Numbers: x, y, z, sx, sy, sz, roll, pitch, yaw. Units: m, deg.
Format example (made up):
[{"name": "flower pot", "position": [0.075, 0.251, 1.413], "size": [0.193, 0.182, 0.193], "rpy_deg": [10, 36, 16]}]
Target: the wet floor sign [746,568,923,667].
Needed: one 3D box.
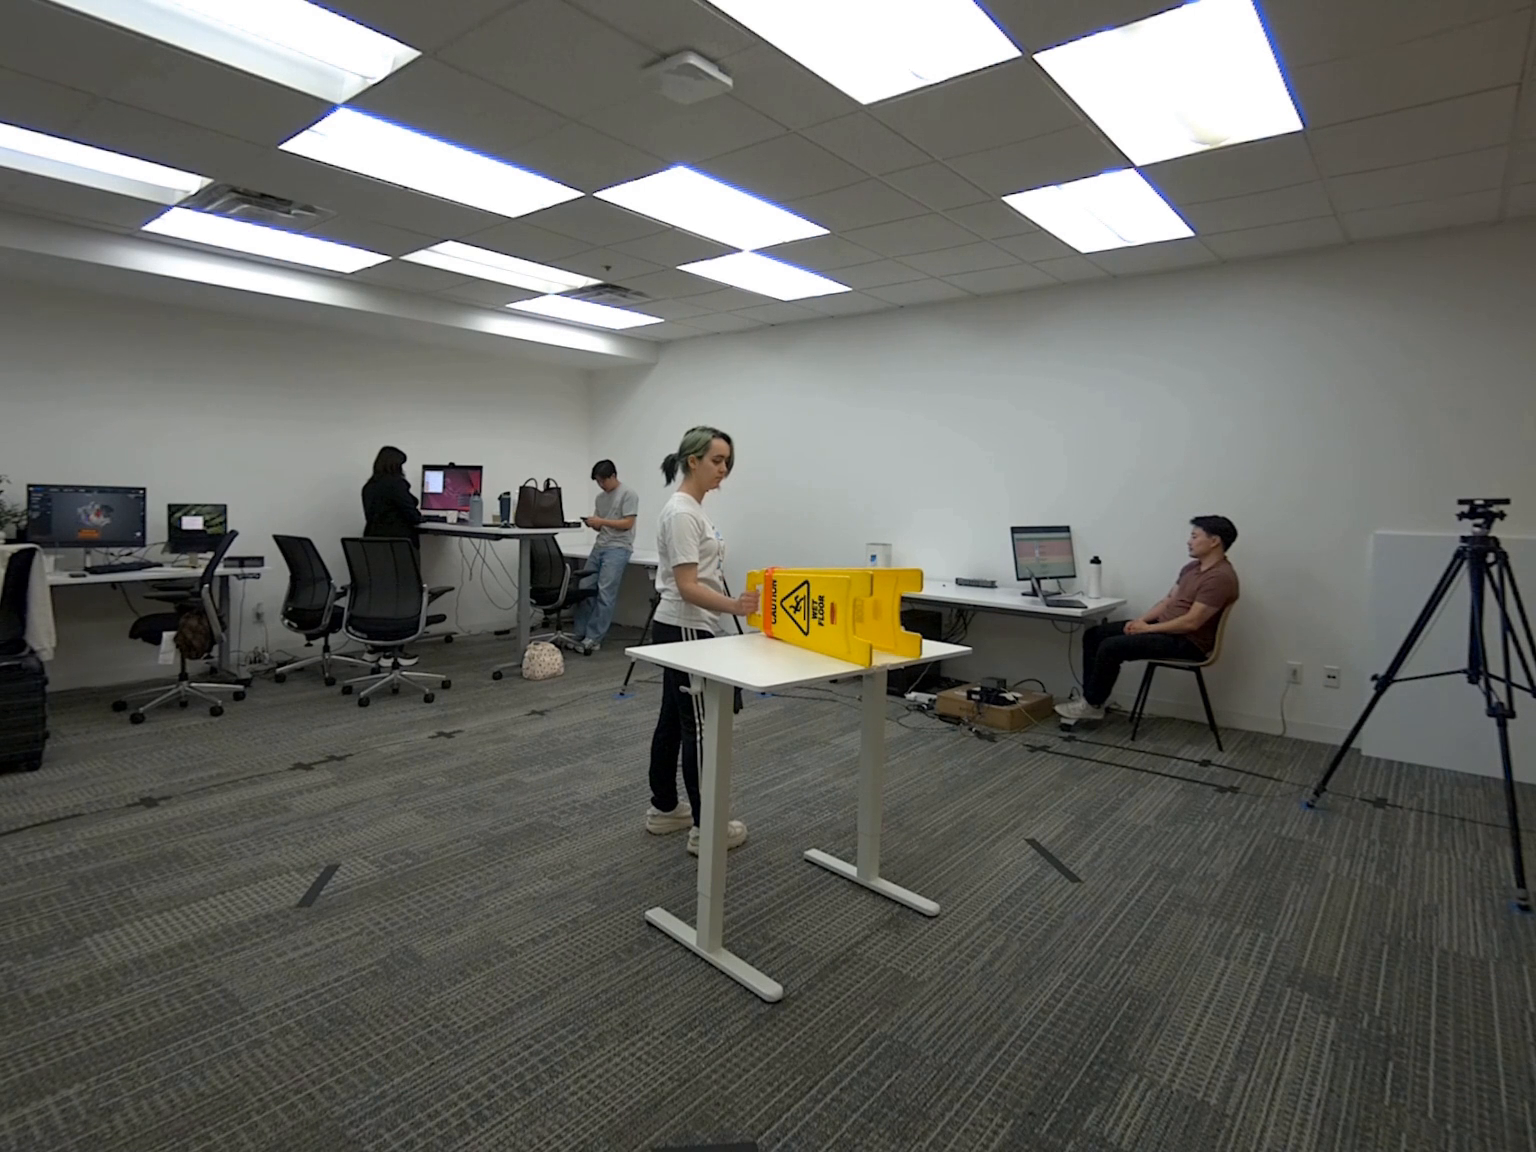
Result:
[{"name": "wet floor sign", "position": [0.150, 0.100, 2.781], "size": [0.281, 0.282, 0.668], "rpy_deg": [-2, 5, -44]}]
